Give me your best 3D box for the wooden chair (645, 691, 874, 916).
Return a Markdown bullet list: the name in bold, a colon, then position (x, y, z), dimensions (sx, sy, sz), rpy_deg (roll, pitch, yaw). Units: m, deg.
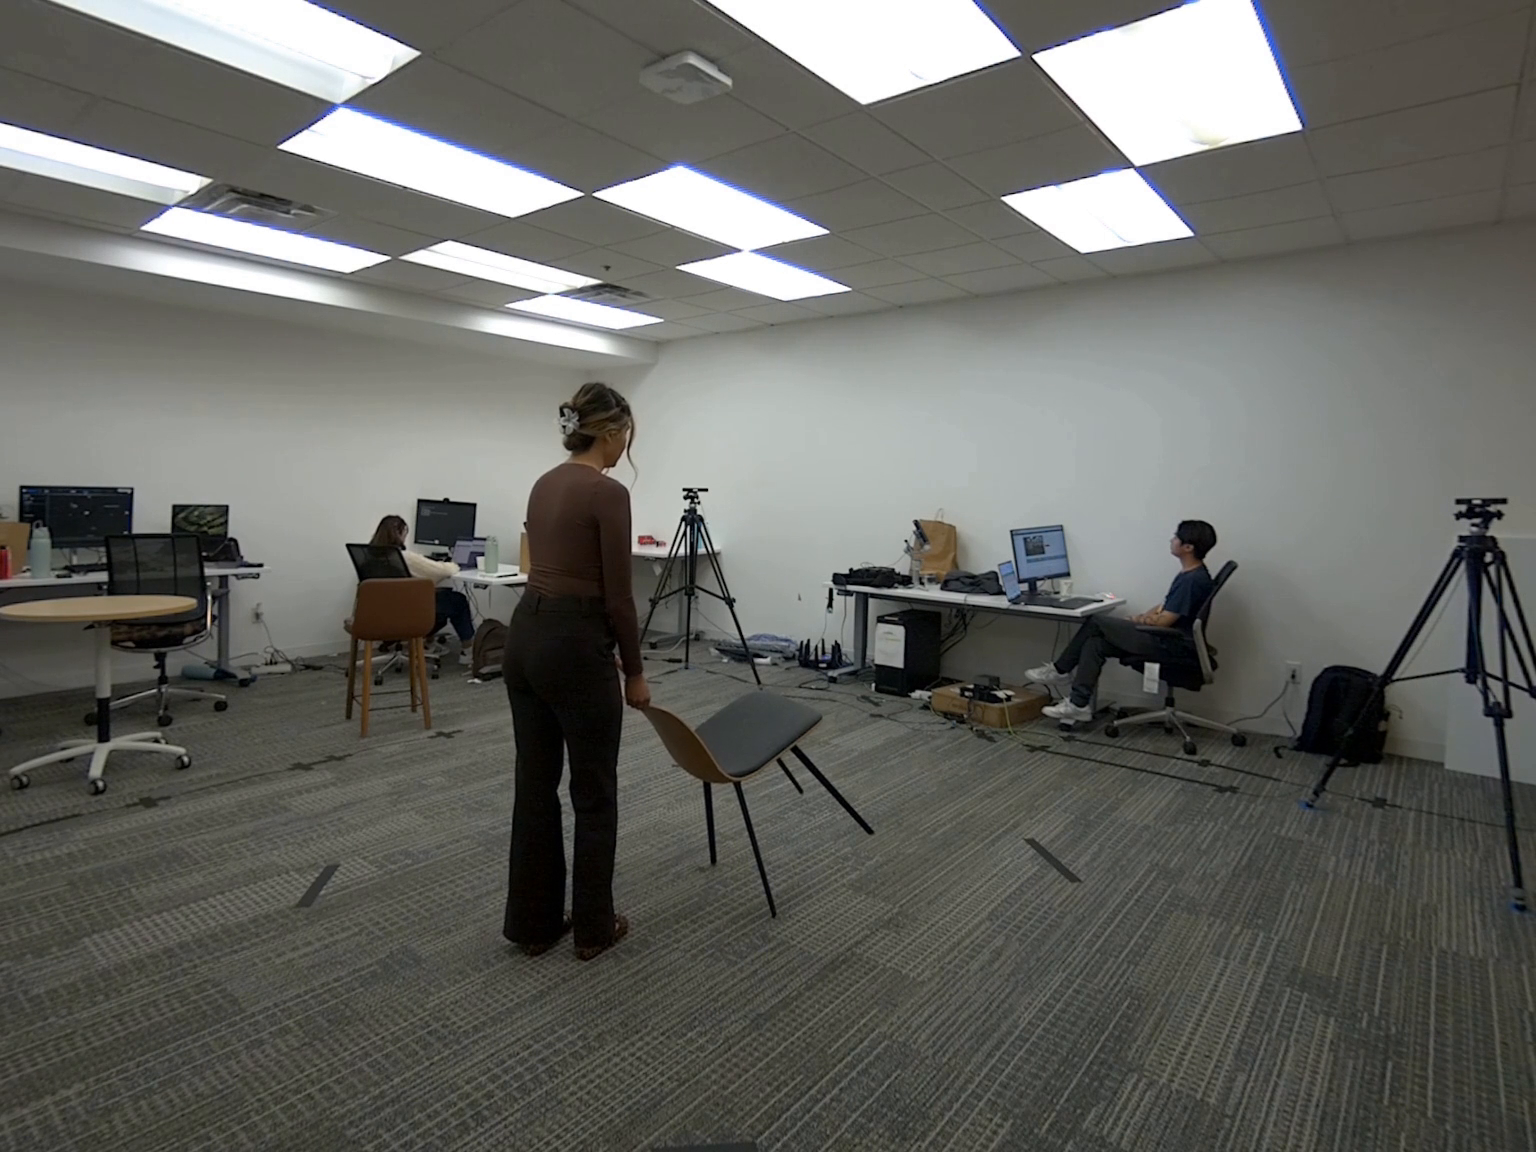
- **wooden chair**: position (-0.090, 0.602, 2.934), dimensions (0.520, 0.858, 0.492), rpy_deg (-36, 19, -22)
